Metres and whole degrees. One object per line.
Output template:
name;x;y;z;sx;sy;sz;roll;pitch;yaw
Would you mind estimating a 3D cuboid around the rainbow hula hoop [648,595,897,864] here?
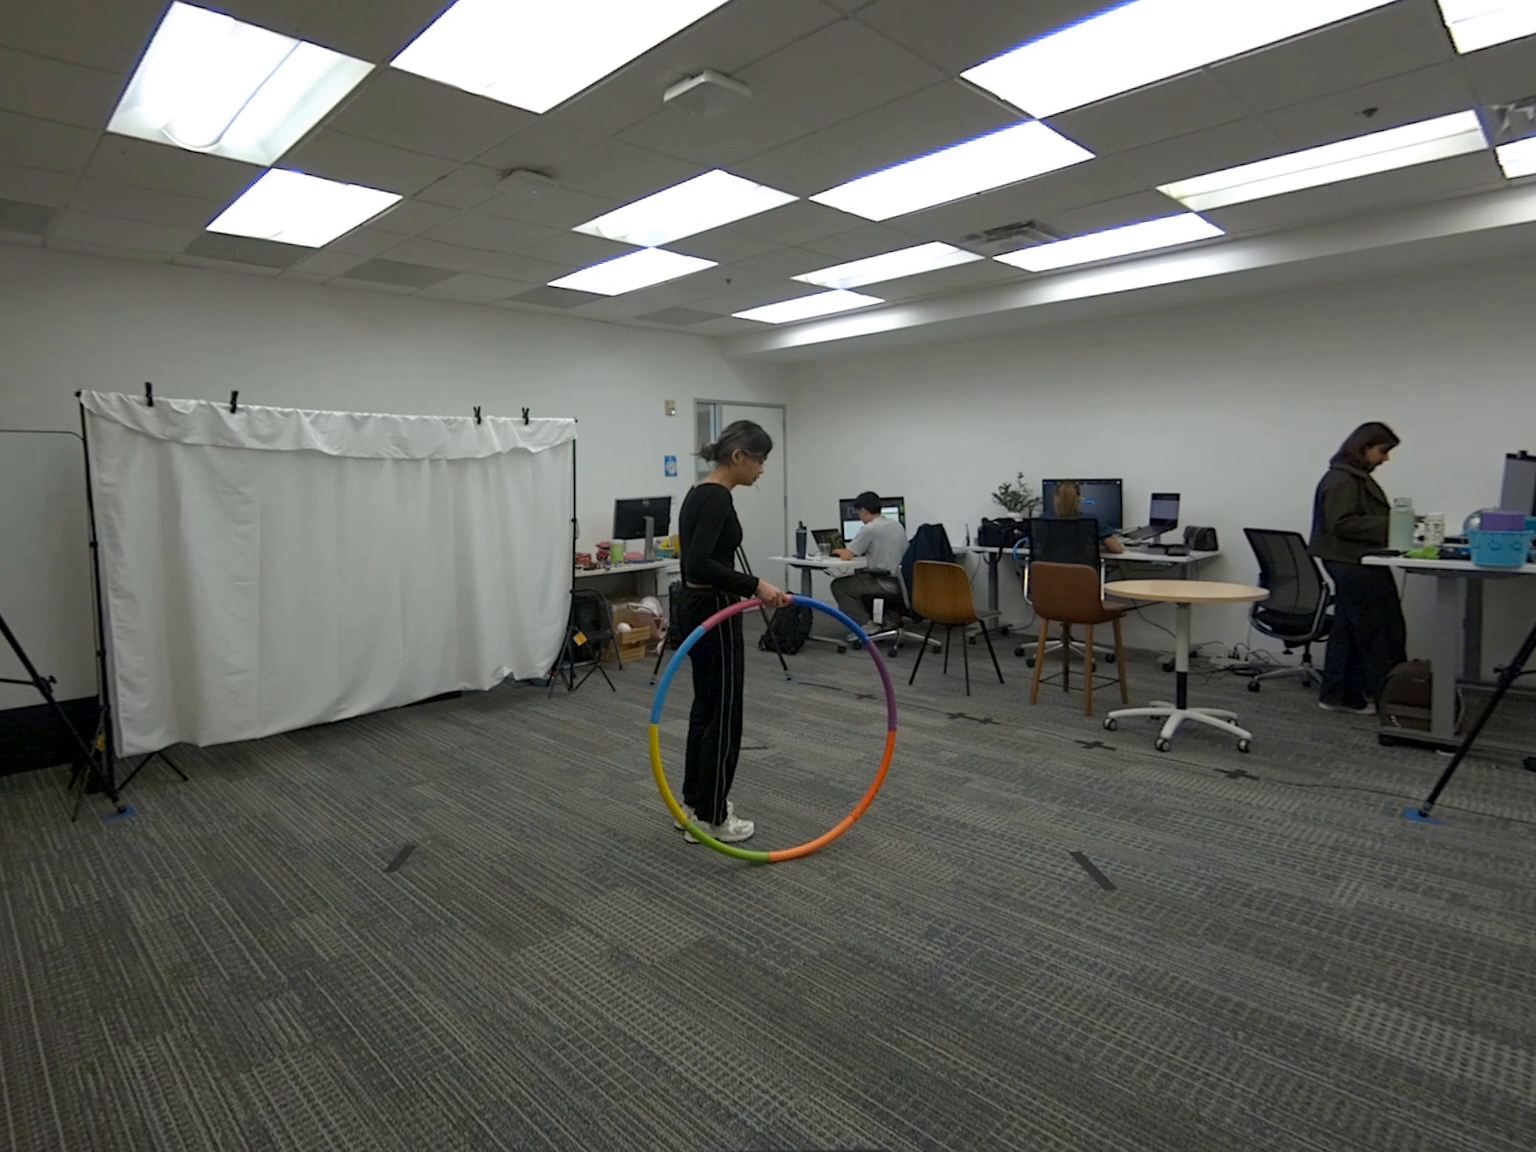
rainbow hula hoop;0.039;0.554;3.130;0.960;0.978;0.036;-3;0;-22
